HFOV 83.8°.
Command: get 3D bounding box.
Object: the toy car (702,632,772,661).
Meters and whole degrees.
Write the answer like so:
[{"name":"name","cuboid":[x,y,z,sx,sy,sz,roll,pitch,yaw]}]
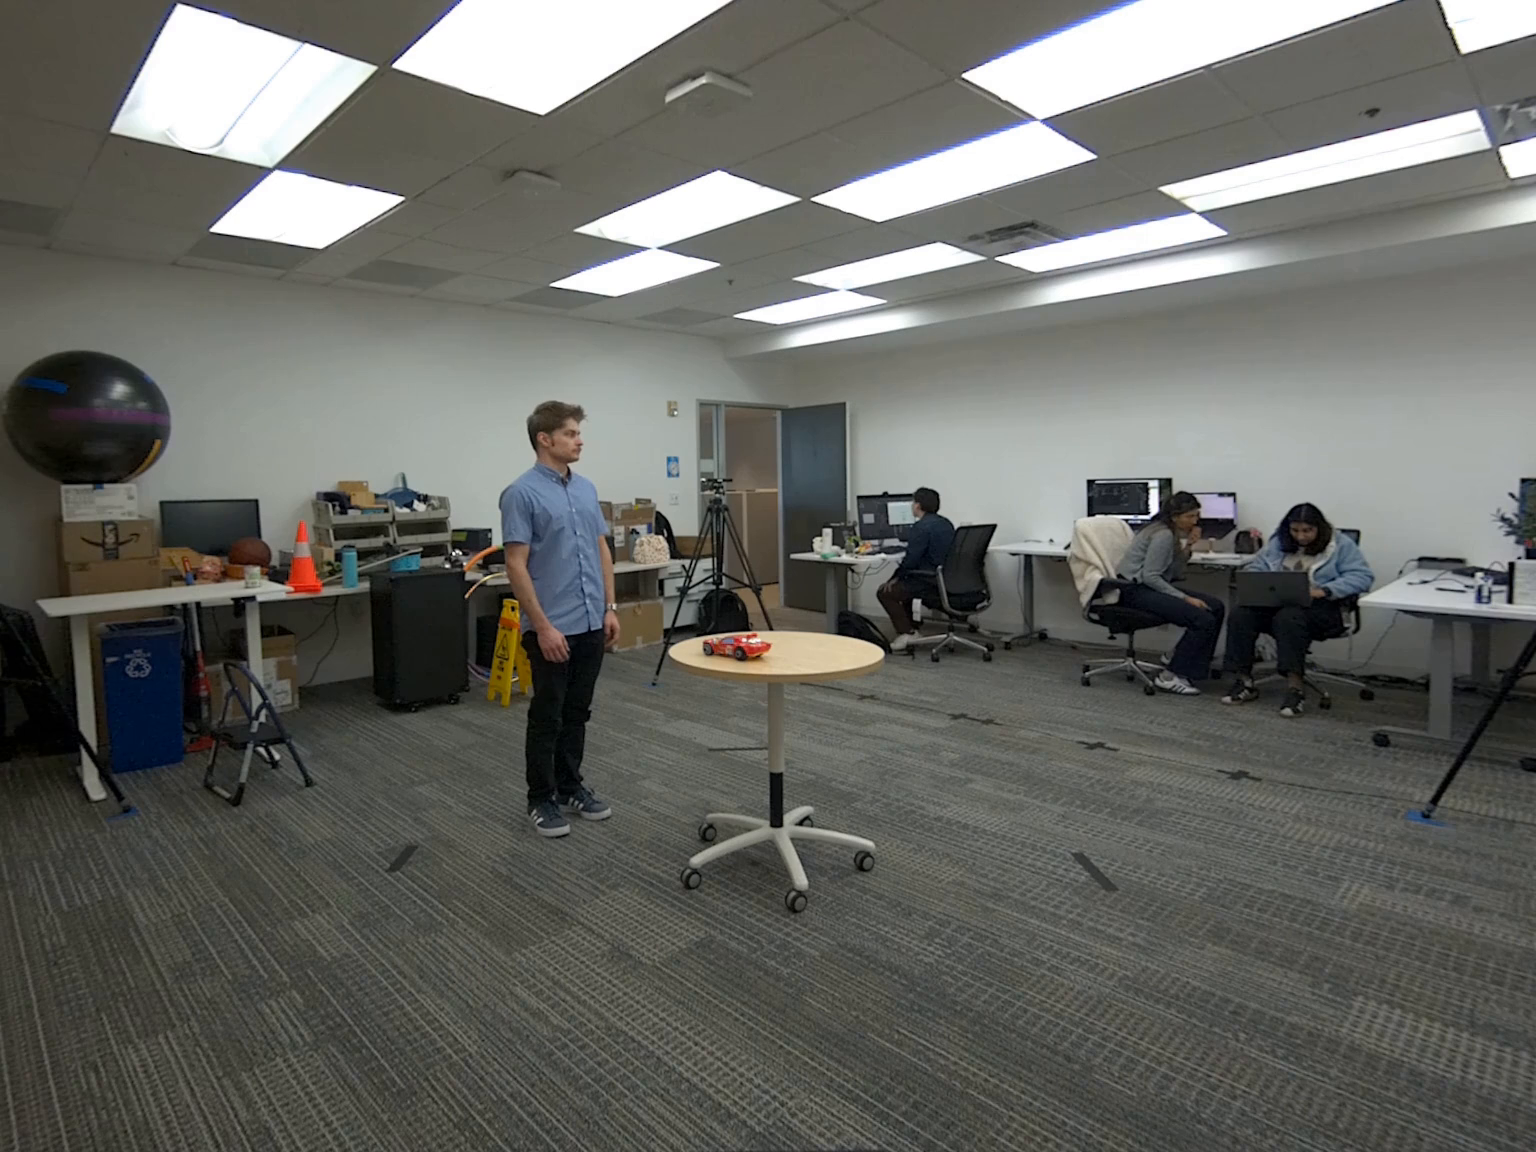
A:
[{"name":"toy car","cuboid":[-0.101,0.246,2.944,0.260,0.083,0.127,-9,-1,40]}]
